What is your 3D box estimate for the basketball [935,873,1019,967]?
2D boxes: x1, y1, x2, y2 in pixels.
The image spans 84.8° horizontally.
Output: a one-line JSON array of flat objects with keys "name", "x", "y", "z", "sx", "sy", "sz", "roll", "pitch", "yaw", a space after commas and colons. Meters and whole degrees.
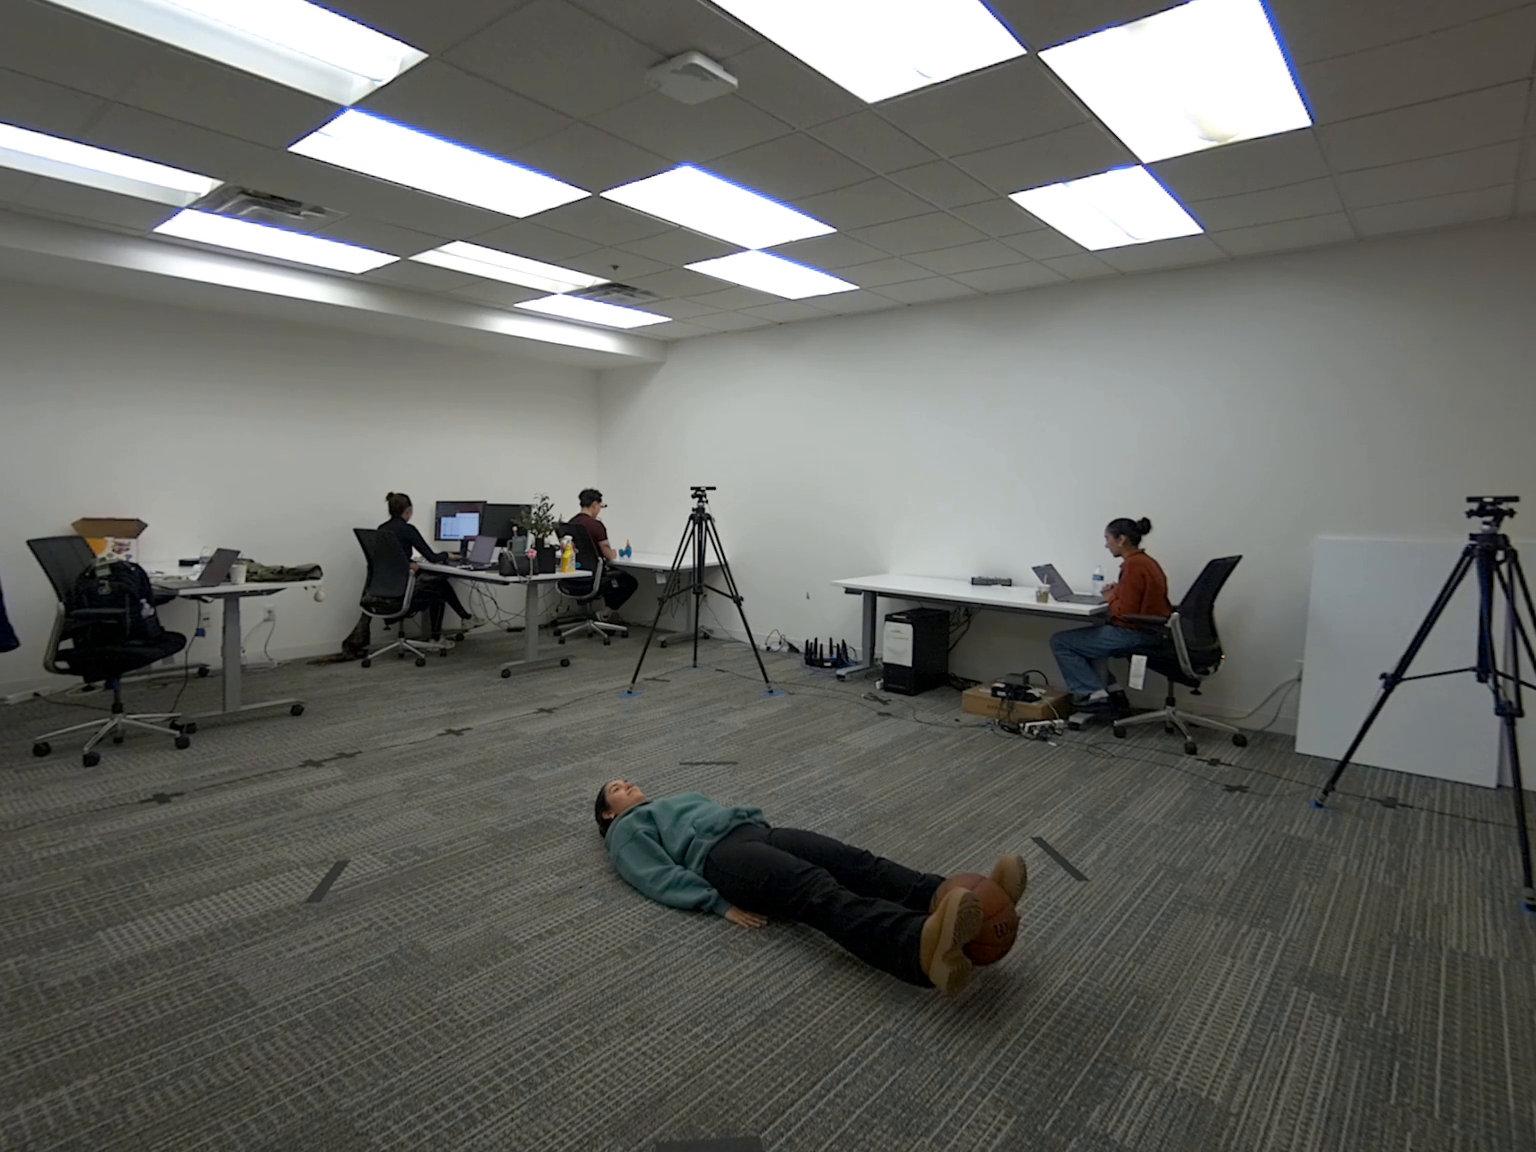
[{"name": "basketball", "x": 0.570, "y": 0.955, "z": 2.376, "sx": 0.236, "sy": 0.235, "sz": 0.237, "roll": 0, "pitch": 4, "yaw": -2}]
